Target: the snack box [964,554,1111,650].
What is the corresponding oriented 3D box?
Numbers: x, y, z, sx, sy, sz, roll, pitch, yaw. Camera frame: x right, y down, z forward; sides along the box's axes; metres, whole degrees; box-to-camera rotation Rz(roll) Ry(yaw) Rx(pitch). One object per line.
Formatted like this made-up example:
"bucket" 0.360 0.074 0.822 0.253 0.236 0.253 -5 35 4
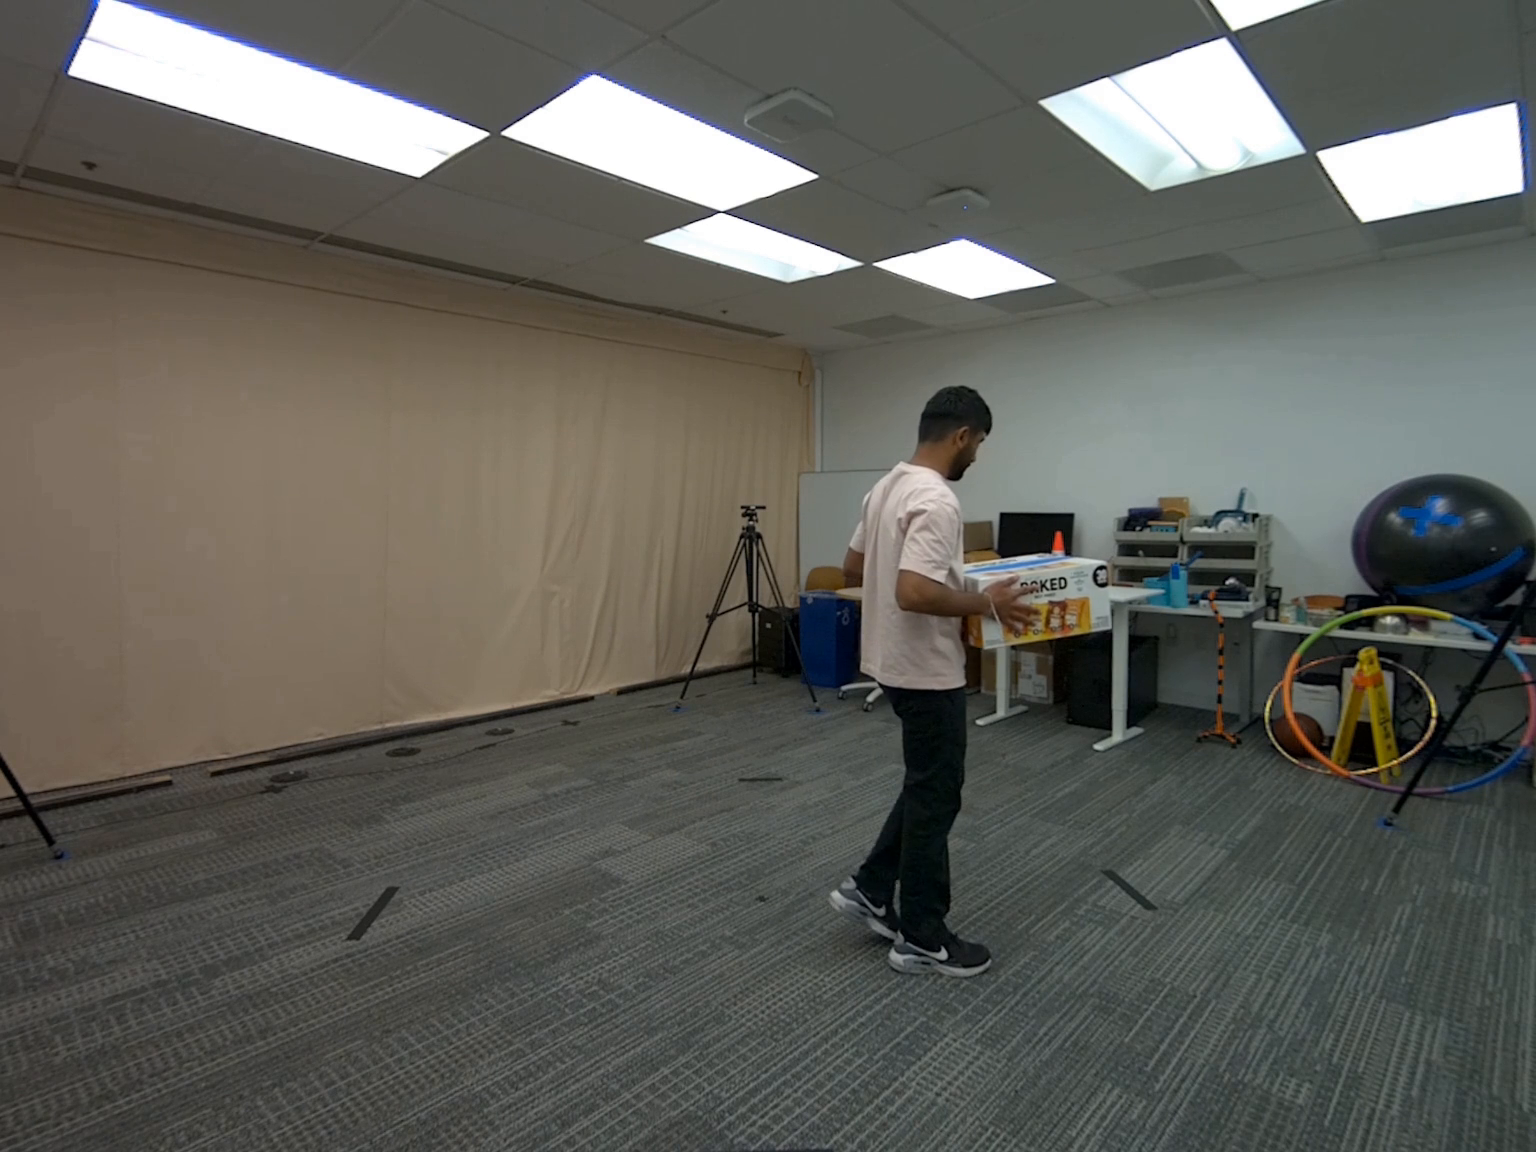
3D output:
"snack box" 0.757 0.069 2.560 0.402 0.205 0.345 -8 6 -9
